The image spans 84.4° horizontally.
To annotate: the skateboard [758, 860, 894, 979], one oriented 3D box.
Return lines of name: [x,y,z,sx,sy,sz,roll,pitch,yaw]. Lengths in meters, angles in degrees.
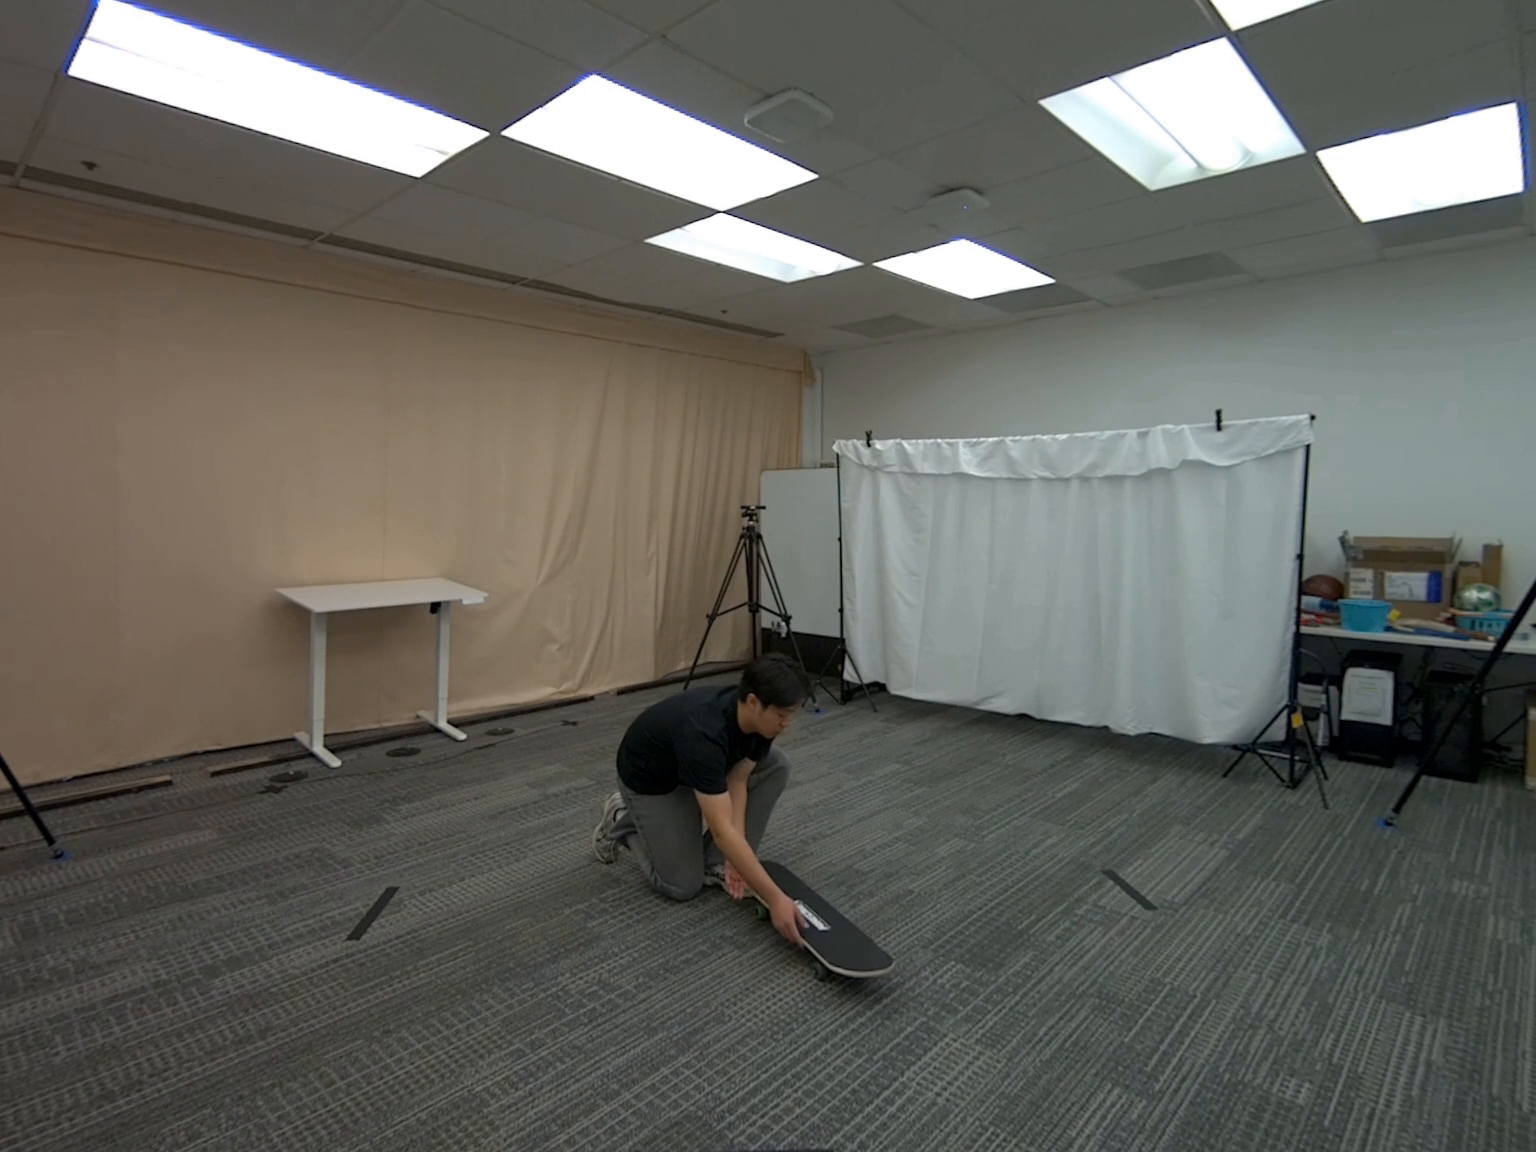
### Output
skateboard: [0.139,1.112,2.684,0.189,0.110,0.806,-1,5,-26]
